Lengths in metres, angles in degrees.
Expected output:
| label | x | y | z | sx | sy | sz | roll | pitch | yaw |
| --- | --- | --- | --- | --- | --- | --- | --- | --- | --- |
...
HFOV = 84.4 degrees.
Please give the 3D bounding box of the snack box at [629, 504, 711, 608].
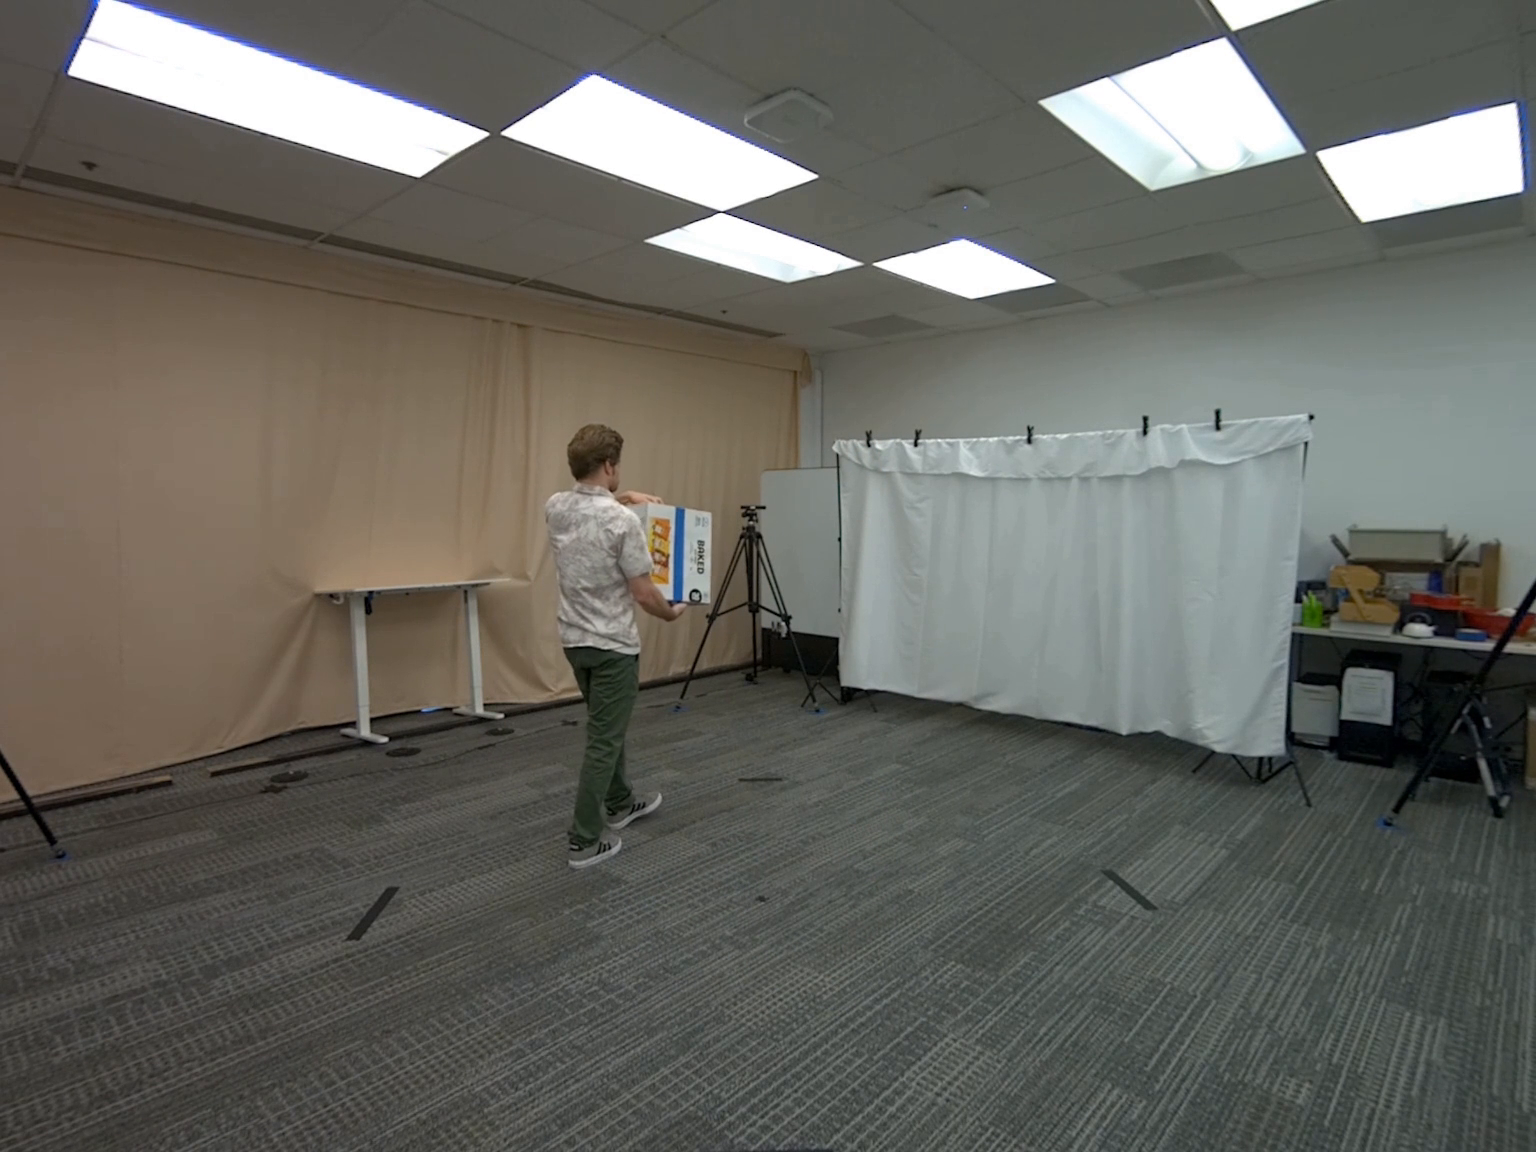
| label | x | y | z | sx | sy | sz | roll | pitch | yaw |
| --- | --- | --- | --- | --- | --- | --- | --- | --- | --- |
| snack box | -0.450 | -0.077 | 3.635 | 0.329 | 0.406 | 0.212 | 7 | -8 | -42 |
